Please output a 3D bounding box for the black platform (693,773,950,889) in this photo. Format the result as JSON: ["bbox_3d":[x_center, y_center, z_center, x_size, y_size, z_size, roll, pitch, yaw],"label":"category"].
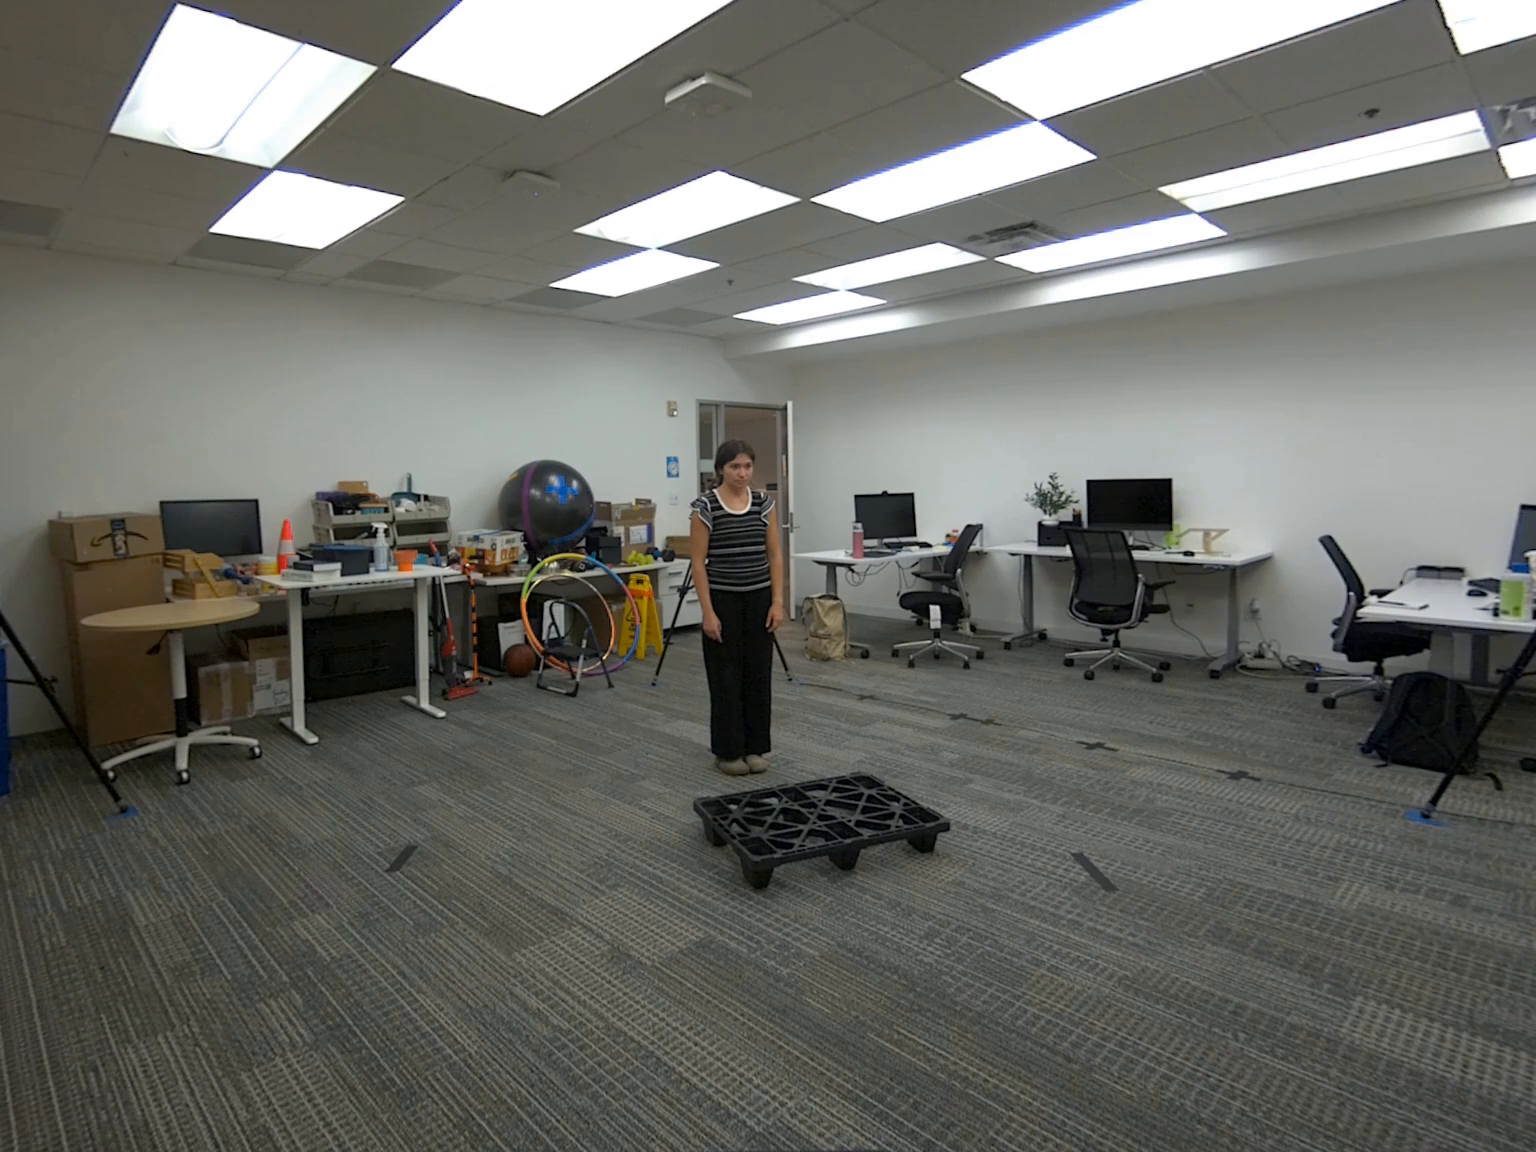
[{"bbox_3d":[0.192,0.955,3.254,0.790,0.142,0.620,-4,7,-23],"label":"black platform"}]
